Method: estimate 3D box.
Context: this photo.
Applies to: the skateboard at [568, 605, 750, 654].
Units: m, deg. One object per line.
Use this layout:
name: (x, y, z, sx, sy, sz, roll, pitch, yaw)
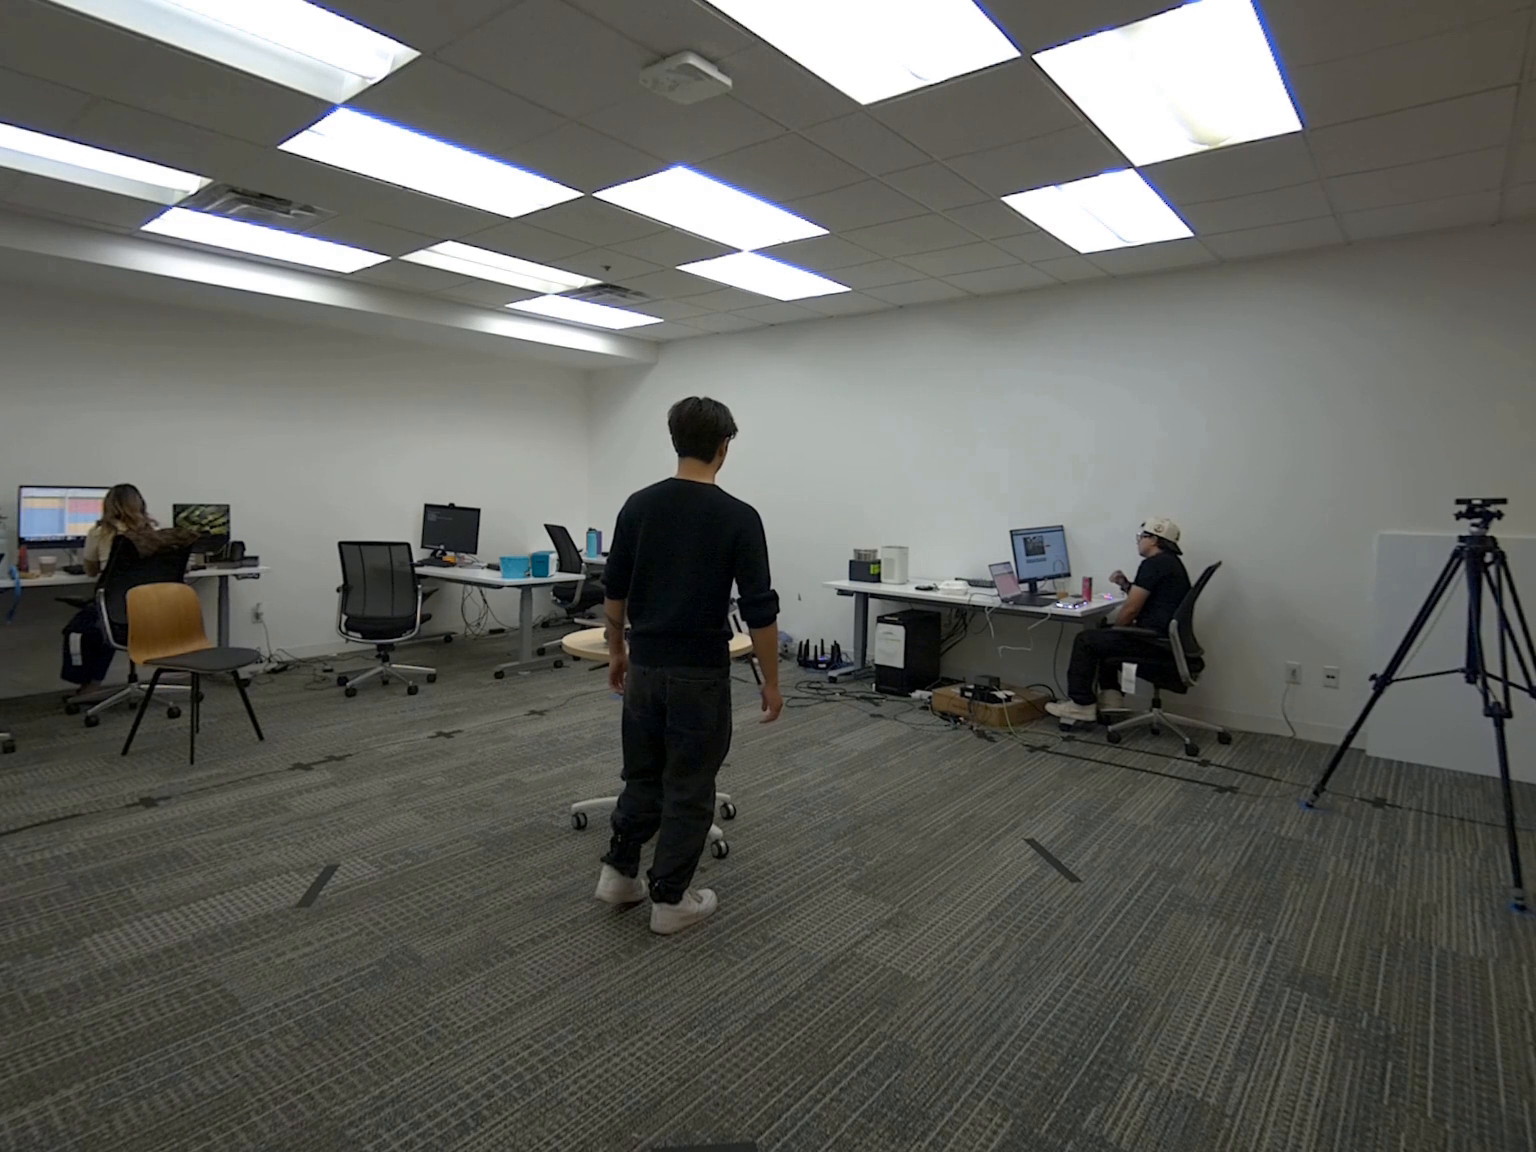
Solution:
skateboard: (-0.428, 0.202, 3.432, 0.762, 0.110, 0.200, -4, 7, -43)
